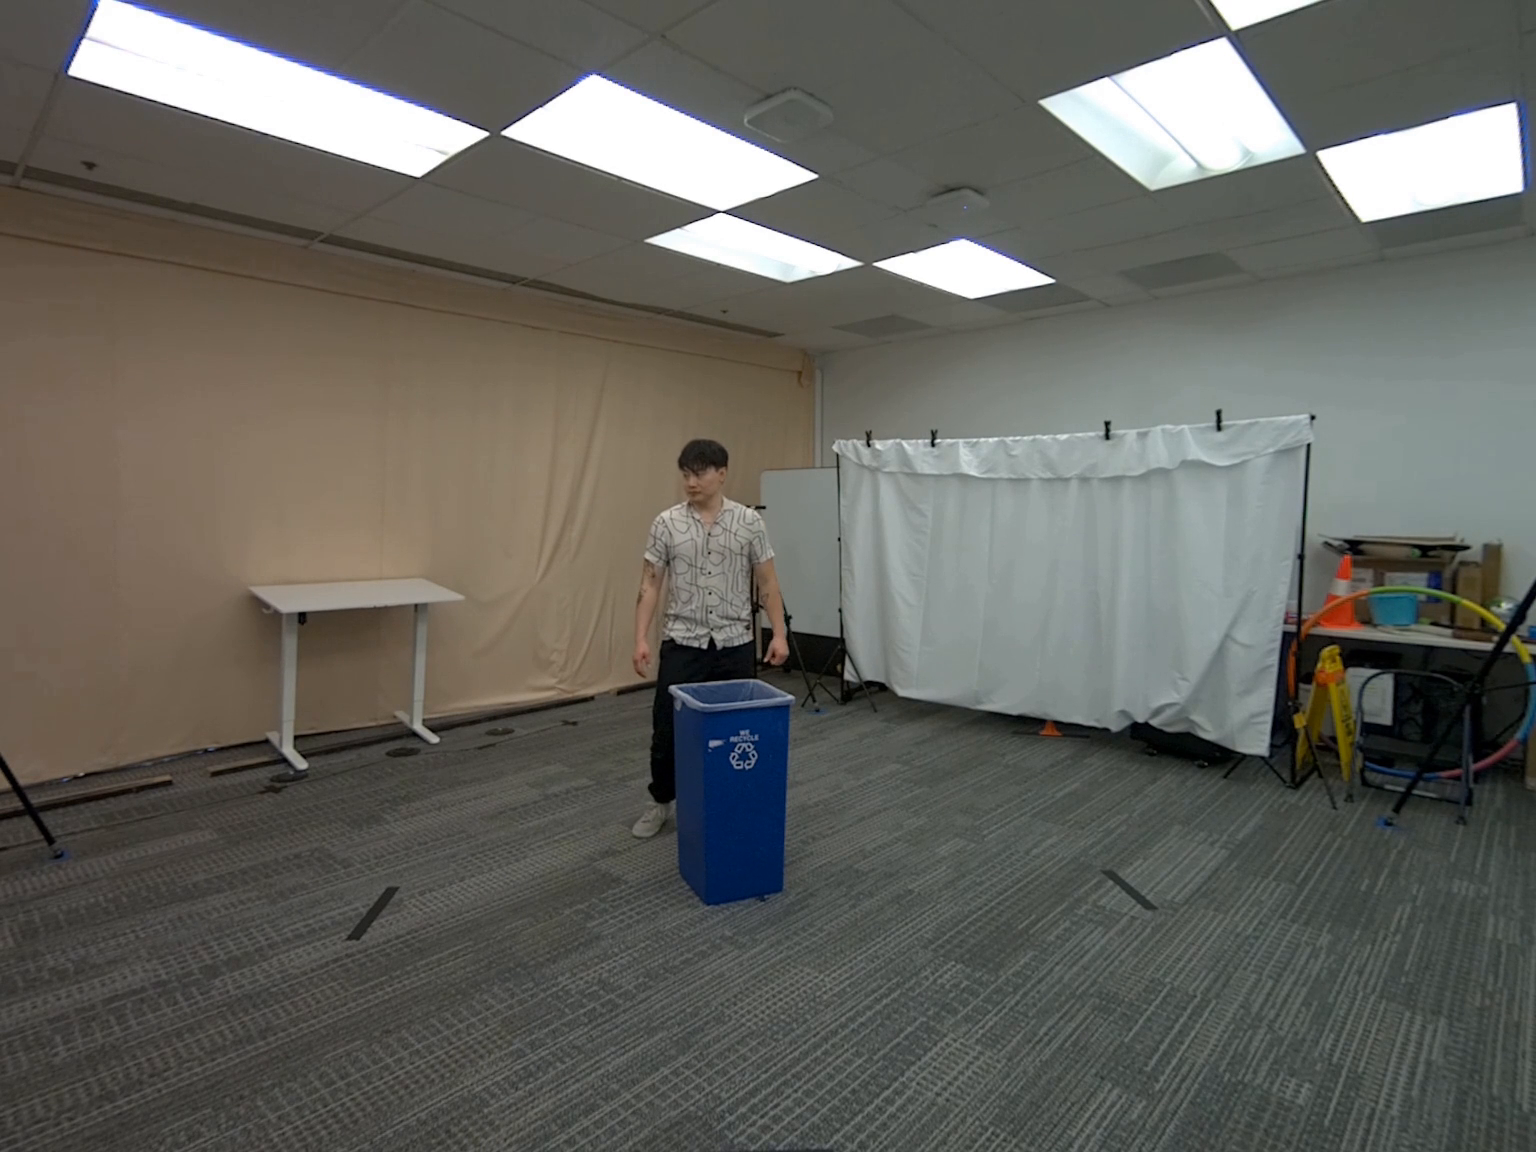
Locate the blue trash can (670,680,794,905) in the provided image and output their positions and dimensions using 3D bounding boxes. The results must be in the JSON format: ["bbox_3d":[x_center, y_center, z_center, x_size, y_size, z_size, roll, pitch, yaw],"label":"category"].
[{"bbox_3d":[-0.132,0.776,3.099,0.369,0.712,0.384,-1,3,-26],"label":"blue trash can"}]
